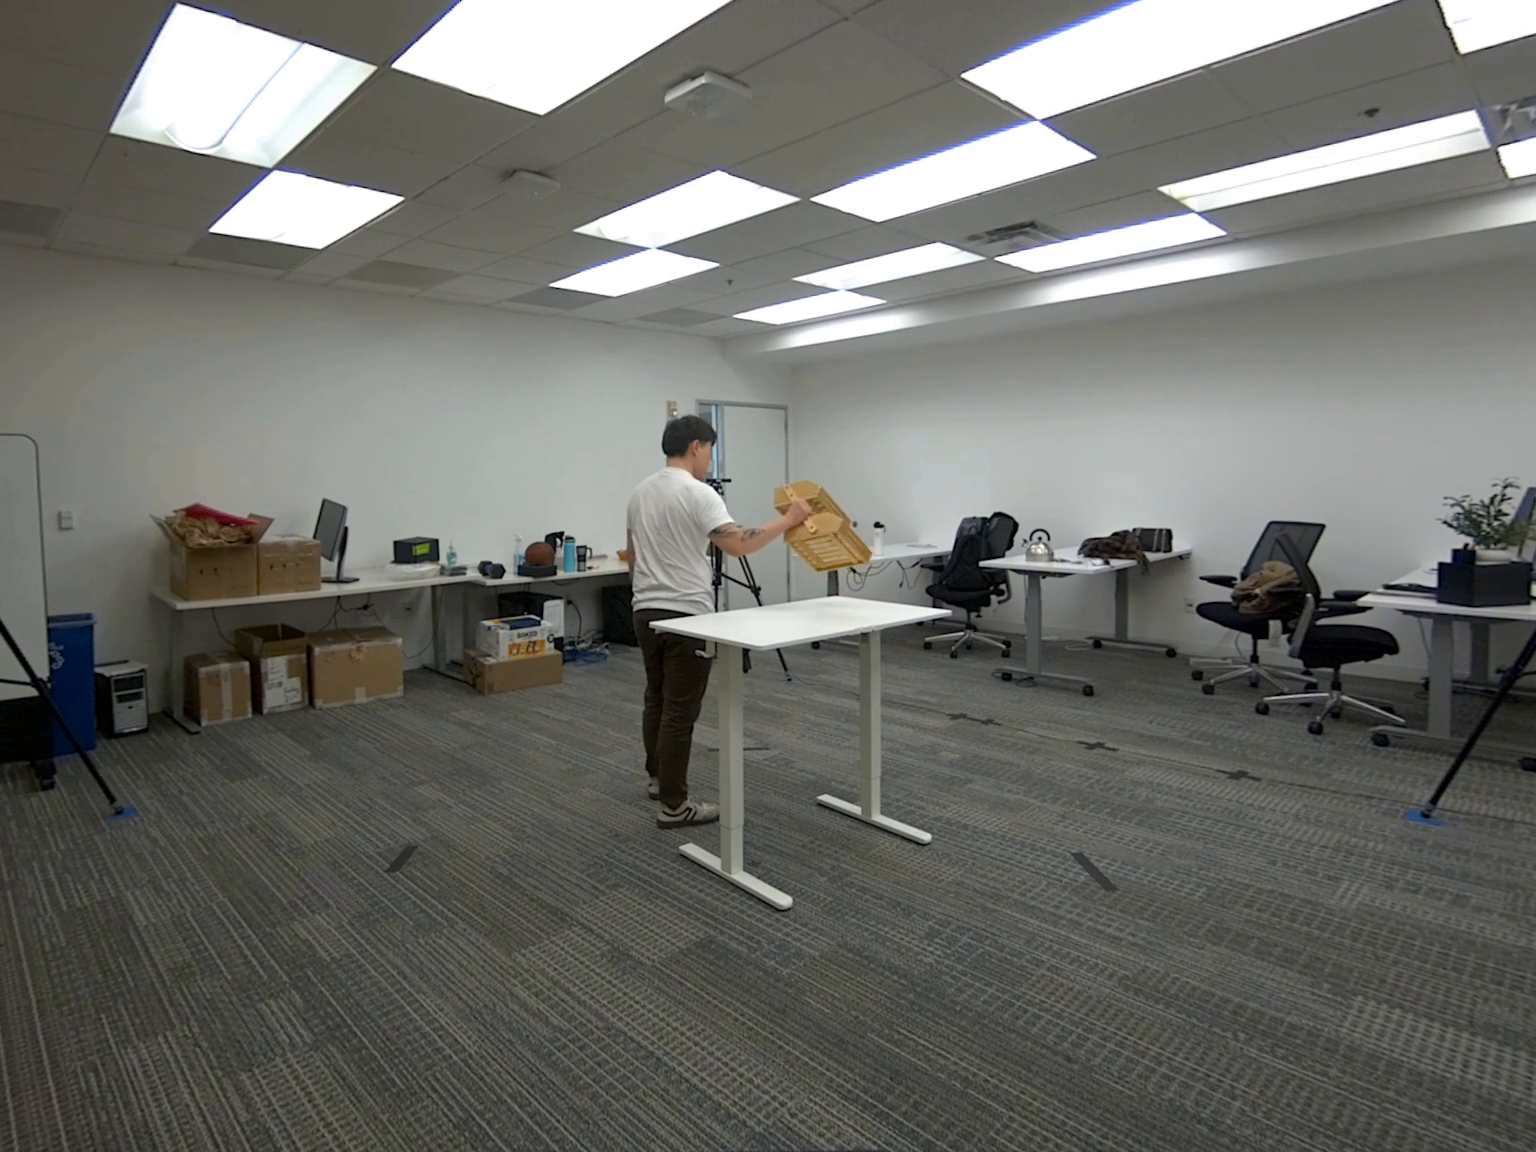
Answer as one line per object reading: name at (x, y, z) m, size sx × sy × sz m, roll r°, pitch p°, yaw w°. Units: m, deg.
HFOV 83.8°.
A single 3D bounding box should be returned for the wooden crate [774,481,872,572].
wooden crate at (0.217, -0.212, 3.466) m, size 0.307 × 0.279 × 0.312 m, roll -12°, pitch -31°, yaw 26°
